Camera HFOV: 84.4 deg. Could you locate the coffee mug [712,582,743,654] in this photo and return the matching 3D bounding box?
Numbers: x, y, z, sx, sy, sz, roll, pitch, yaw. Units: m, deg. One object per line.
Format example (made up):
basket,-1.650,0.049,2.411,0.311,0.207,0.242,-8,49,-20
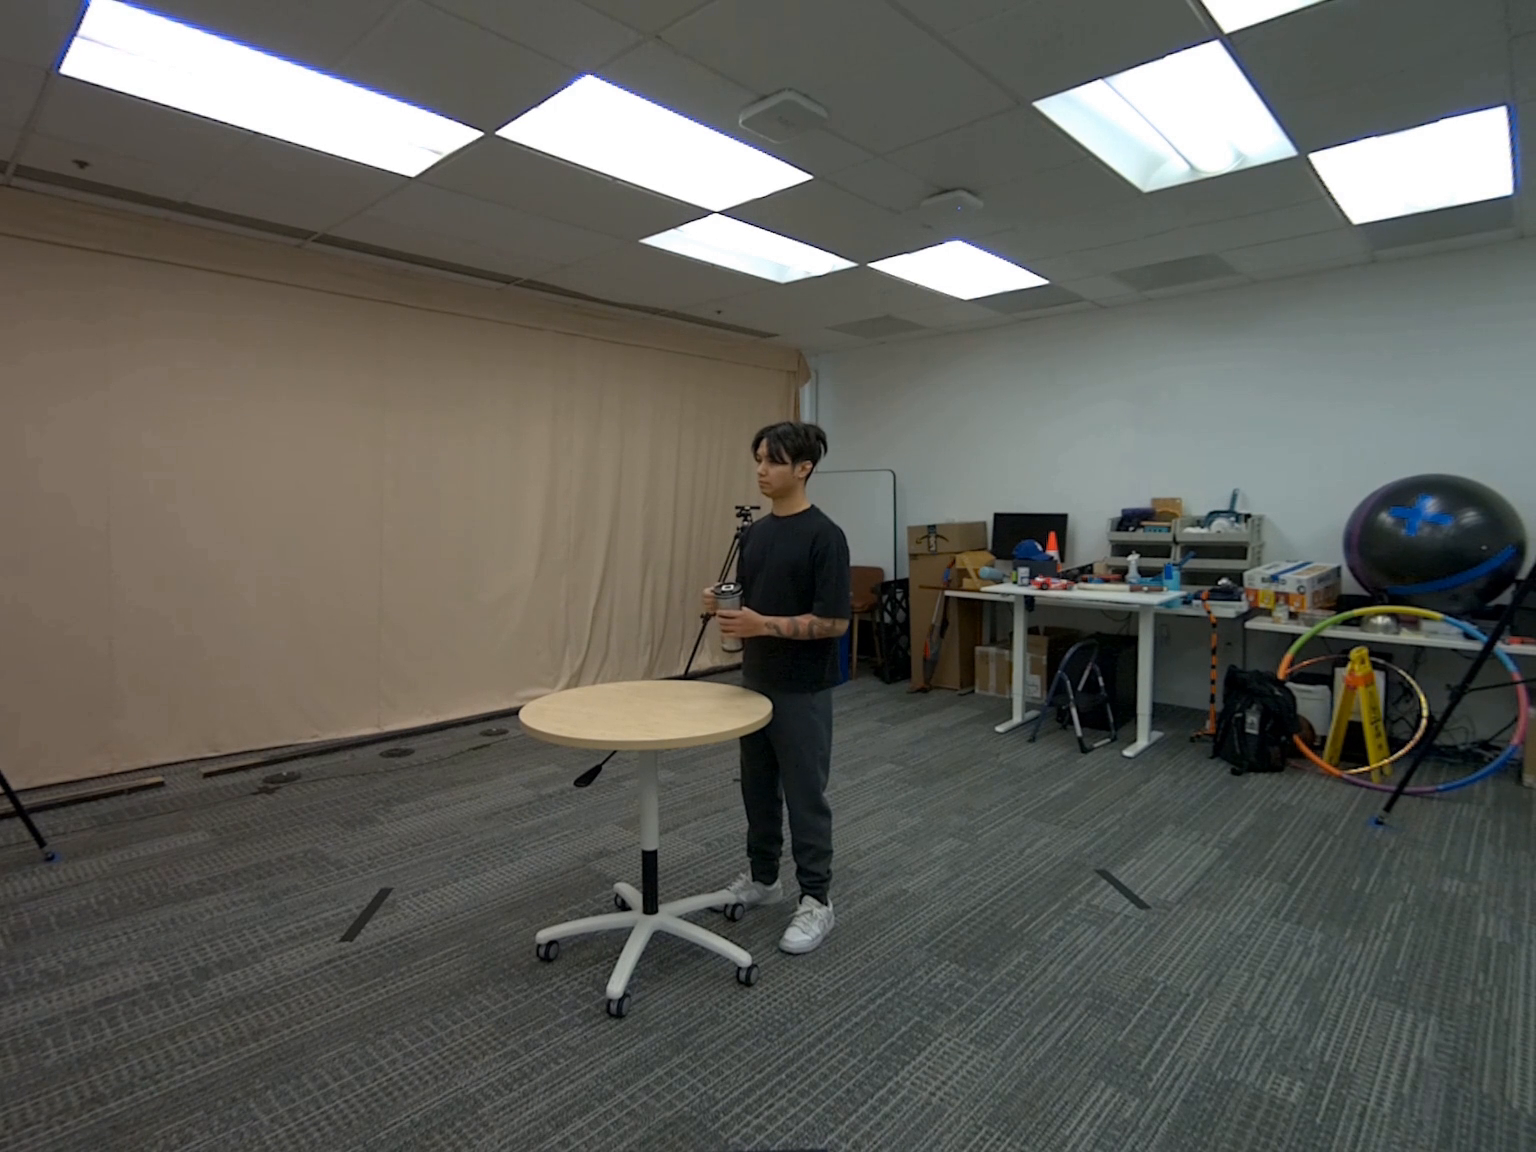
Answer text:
coffee mug,-0.106,0.130,2.612,0.090,0.201,0.120,-1,14,25
